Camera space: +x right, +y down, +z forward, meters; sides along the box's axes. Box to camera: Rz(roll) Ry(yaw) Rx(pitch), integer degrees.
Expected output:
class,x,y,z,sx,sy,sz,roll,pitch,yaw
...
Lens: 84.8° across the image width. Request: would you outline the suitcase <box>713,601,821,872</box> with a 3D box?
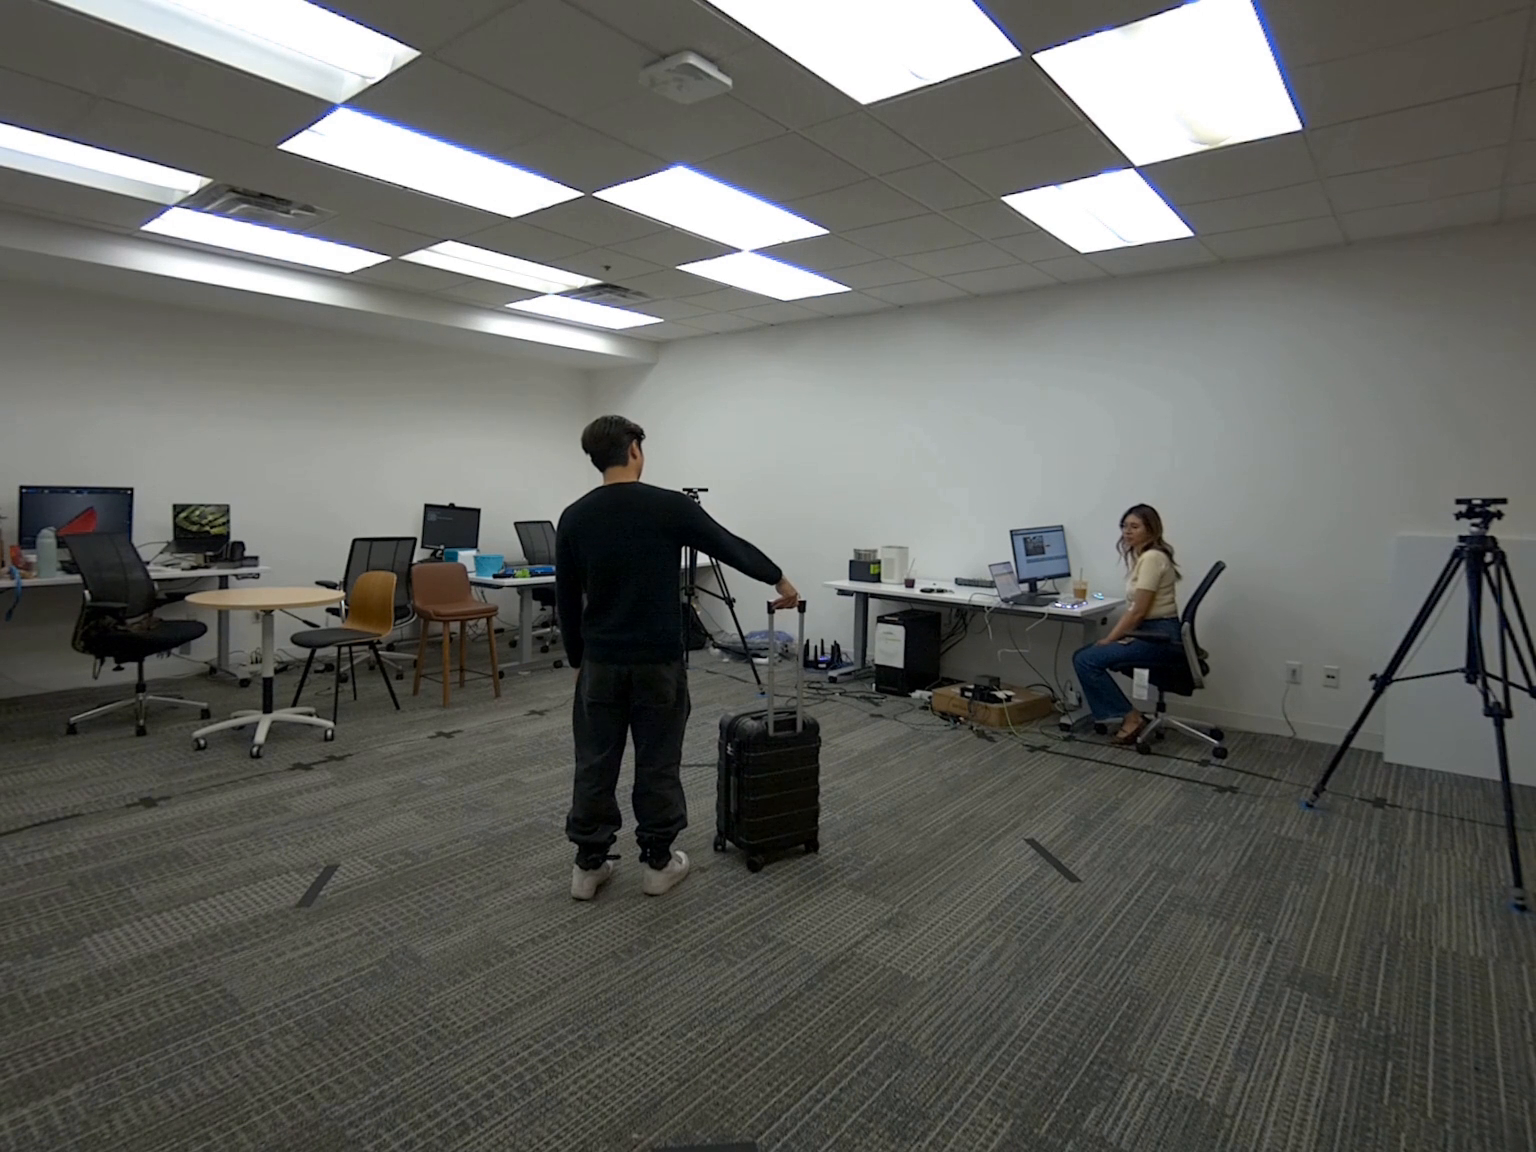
class,x,y,z,sx,sy,sz,roll,pitch,yaw
suitcase,-0.005,0.580,3.274,0.373,0.978,0.264,1,1,-30
